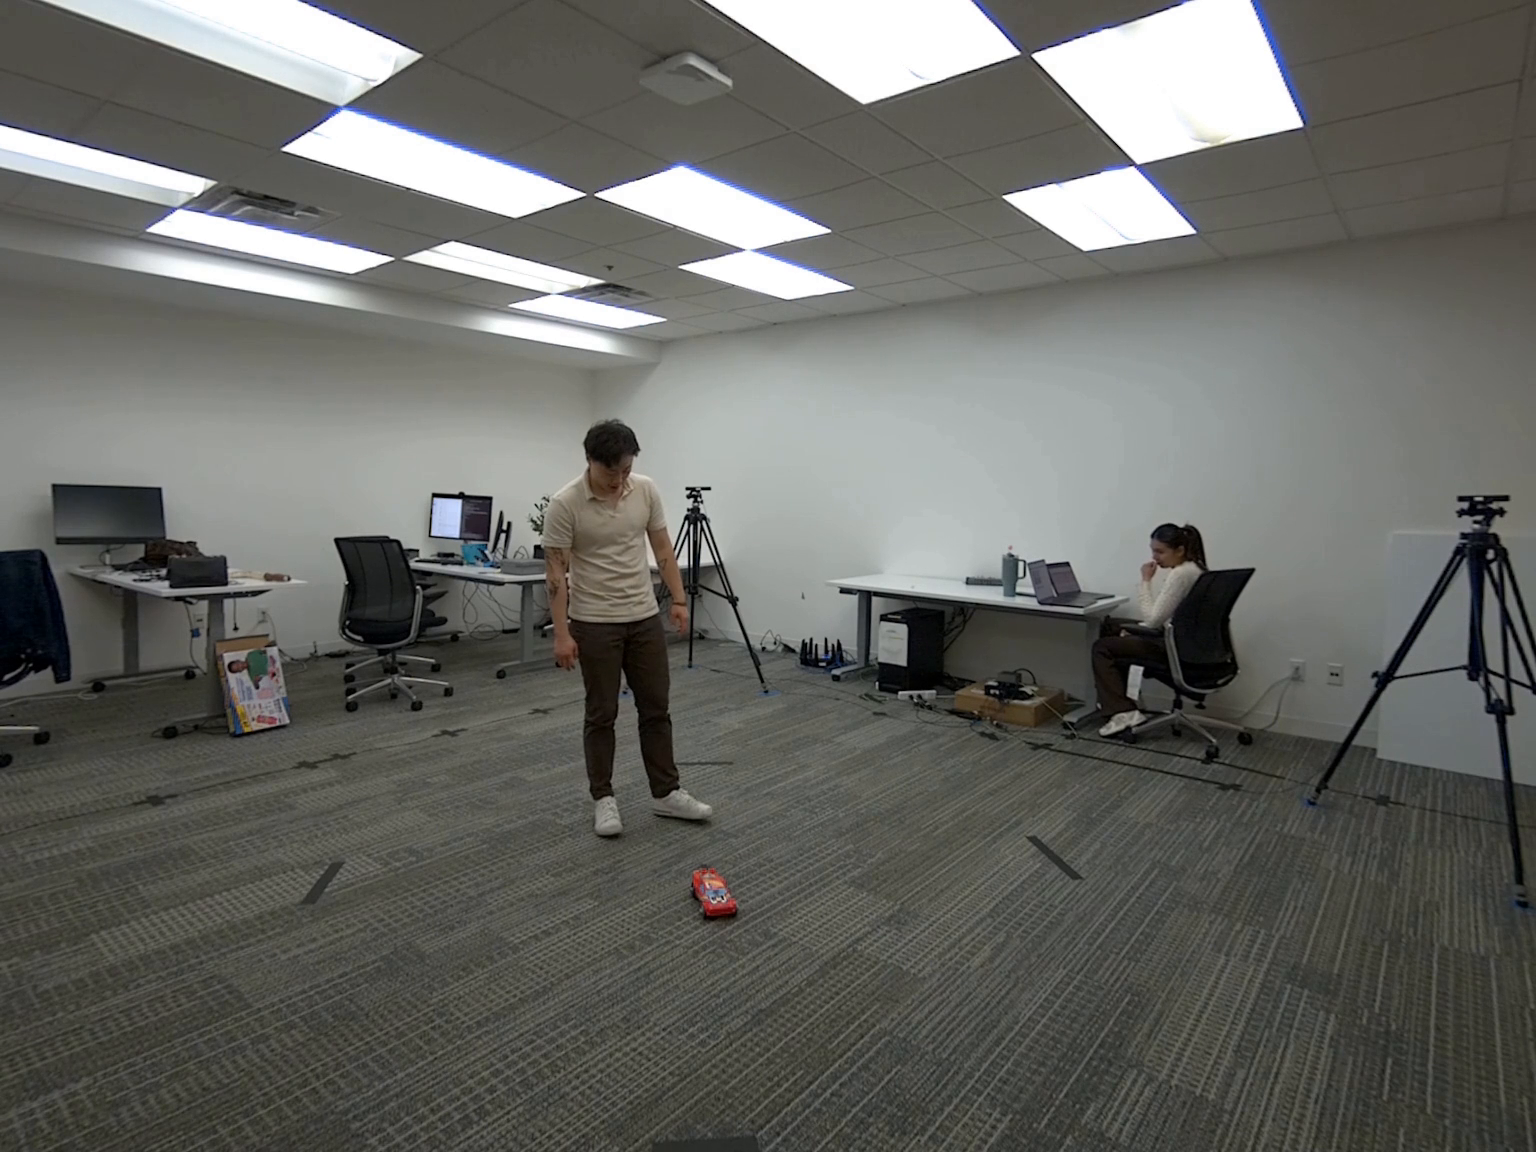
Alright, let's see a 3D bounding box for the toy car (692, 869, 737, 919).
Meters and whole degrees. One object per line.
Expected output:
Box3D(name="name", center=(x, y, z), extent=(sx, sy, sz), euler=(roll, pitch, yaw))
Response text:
Box3D(name="toy car", center=(-0.193, 1.058, 2.840), extent=(0.128, 0.082, 0.261), euler=(-1, 15, -15))
